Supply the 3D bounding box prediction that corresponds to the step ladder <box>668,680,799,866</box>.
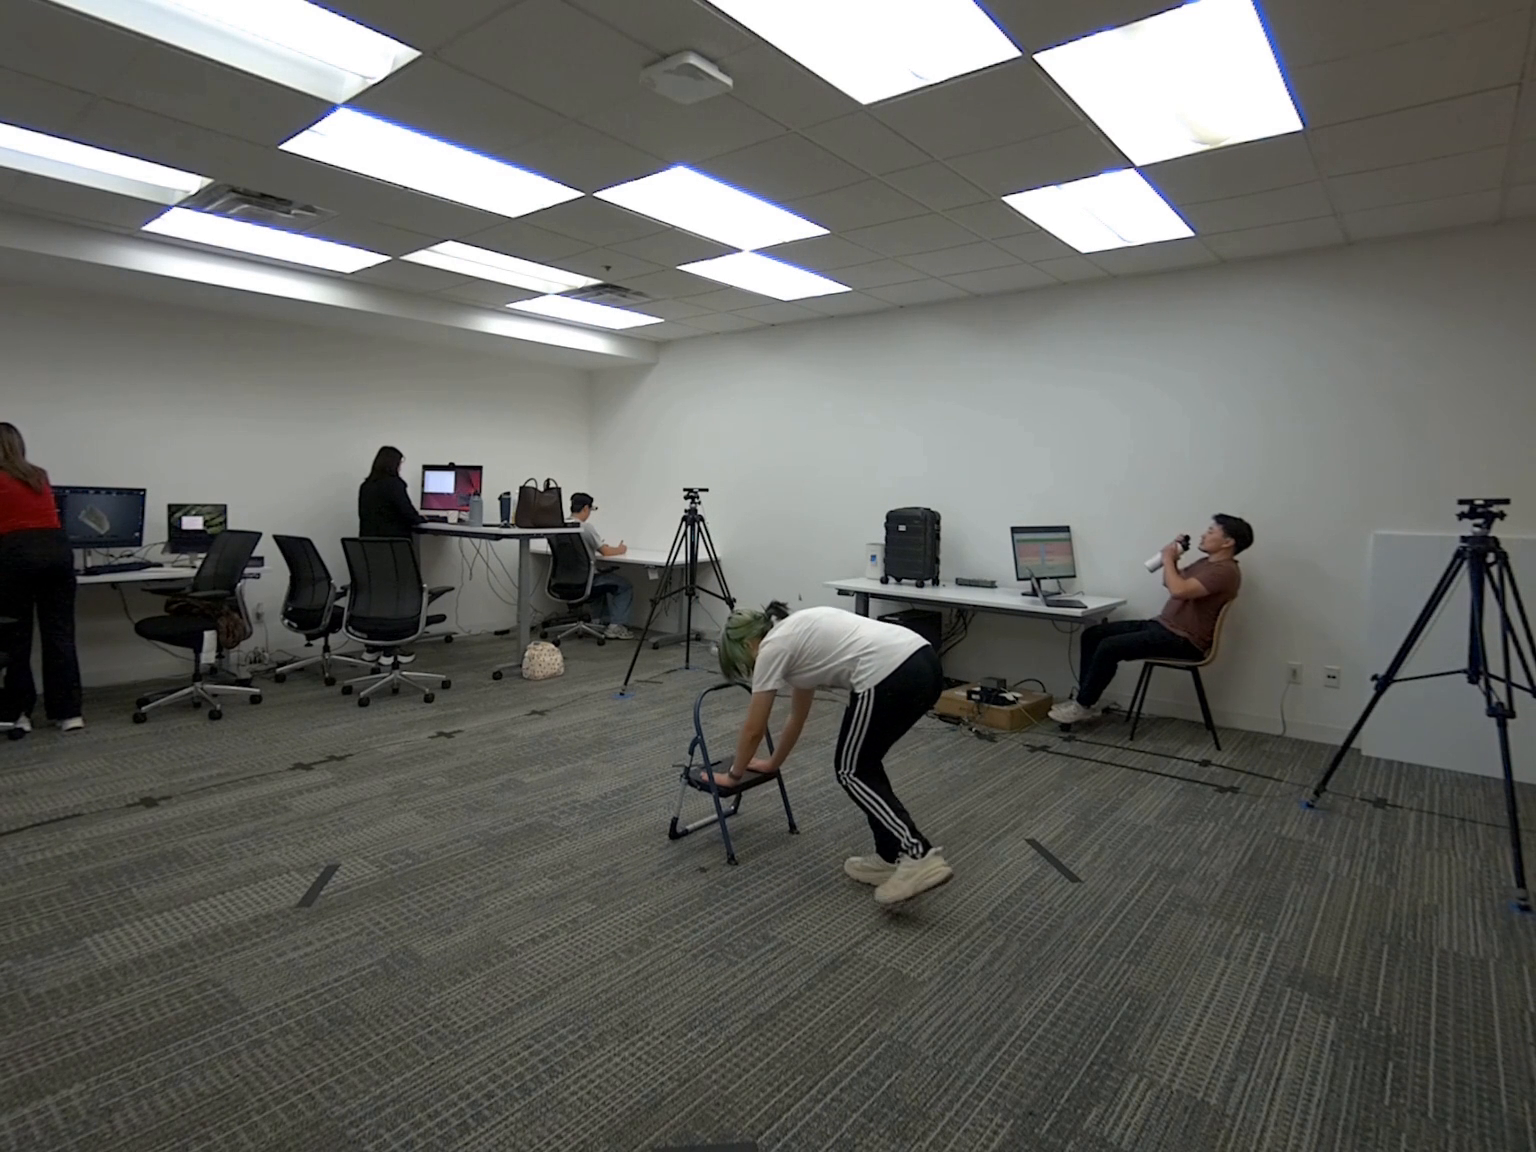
[{"bbox_3d":[-0.139,0.739,3.400,0.361,0.604,0.418,4,4,38],"label":"step ladder"}]
